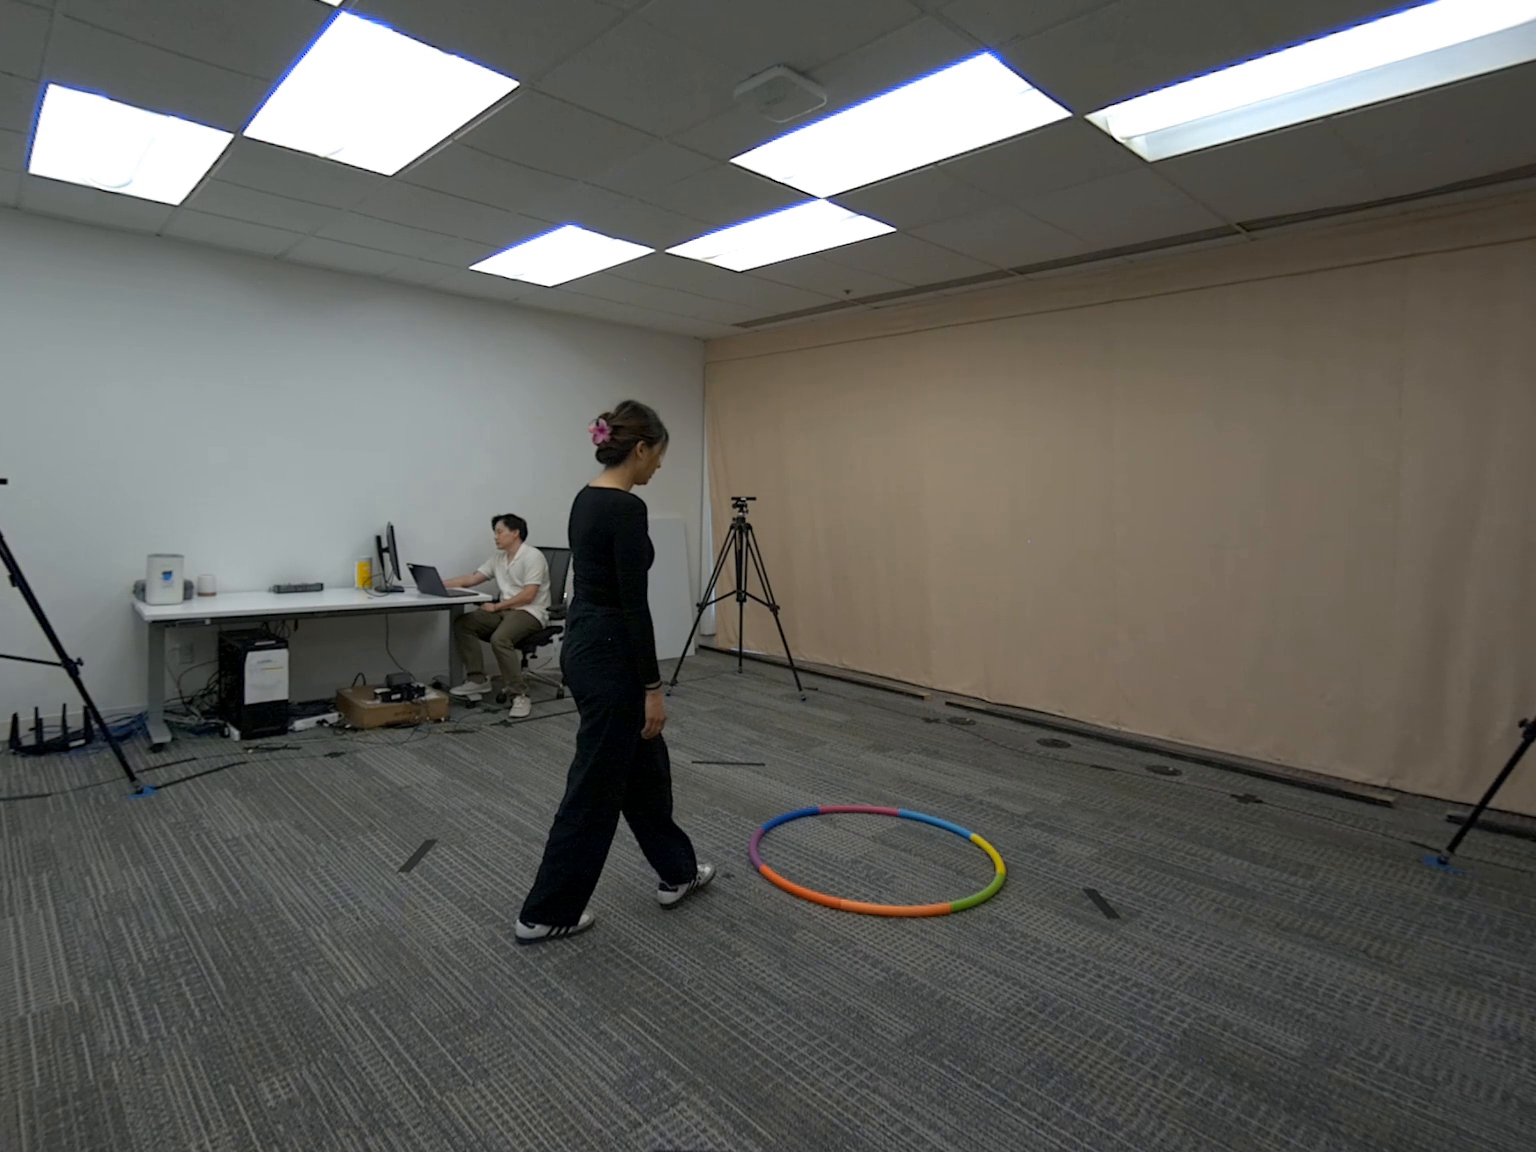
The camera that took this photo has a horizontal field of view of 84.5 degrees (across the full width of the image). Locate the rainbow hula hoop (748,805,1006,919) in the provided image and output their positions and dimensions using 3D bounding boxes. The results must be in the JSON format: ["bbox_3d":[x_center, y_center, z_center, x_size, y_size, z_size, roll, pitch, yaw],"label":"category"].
[{"bbox_3d":[0.407,1.073,3.306,0.978,0.035,0.982,1,5,-1],"label":"rainbow hula hoop"}]
